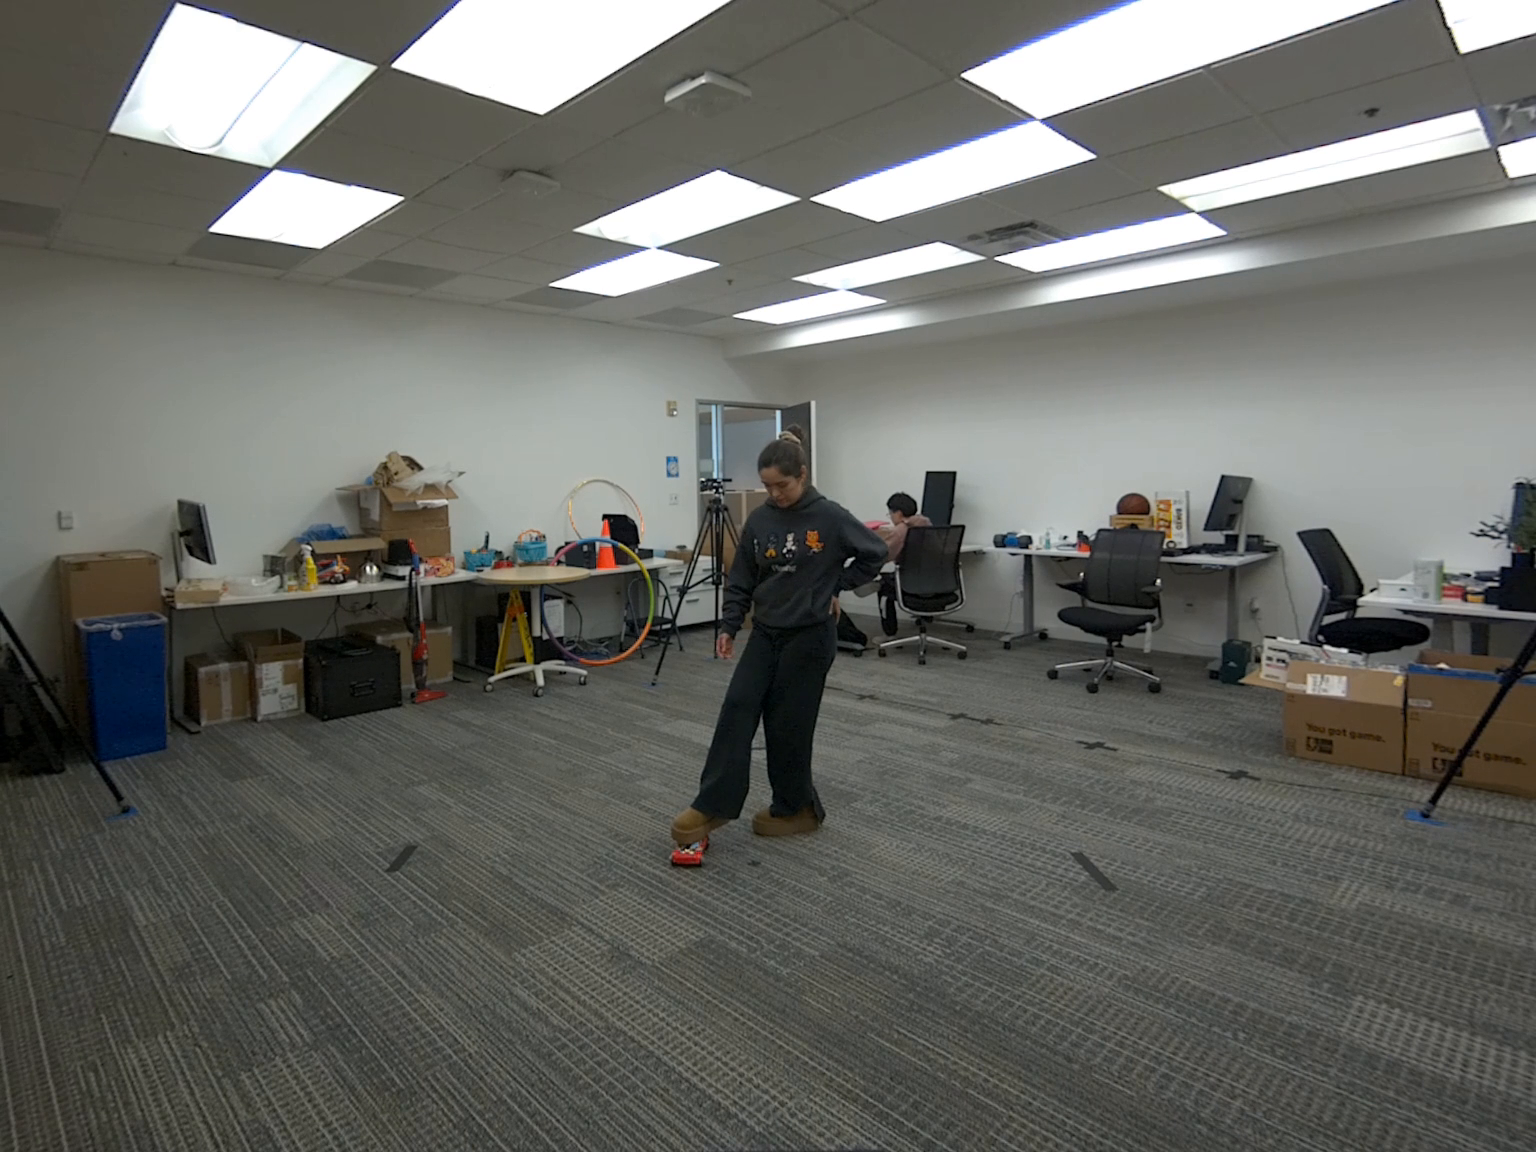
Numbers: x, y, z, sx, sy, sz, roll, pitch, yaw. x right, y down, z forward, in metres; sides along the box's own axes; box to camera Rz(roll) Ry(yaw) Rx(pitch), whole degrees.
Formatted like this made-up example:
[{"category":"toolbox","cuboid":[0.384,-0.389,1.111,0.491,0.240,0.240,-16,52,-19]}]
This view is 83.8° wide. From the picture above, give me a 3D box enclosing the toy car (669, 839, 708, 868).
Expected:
[{"category":"toy car","cuboid":[-0.283,1.010,3.183,0.131,0.082,0.257,1,17,5]}]
